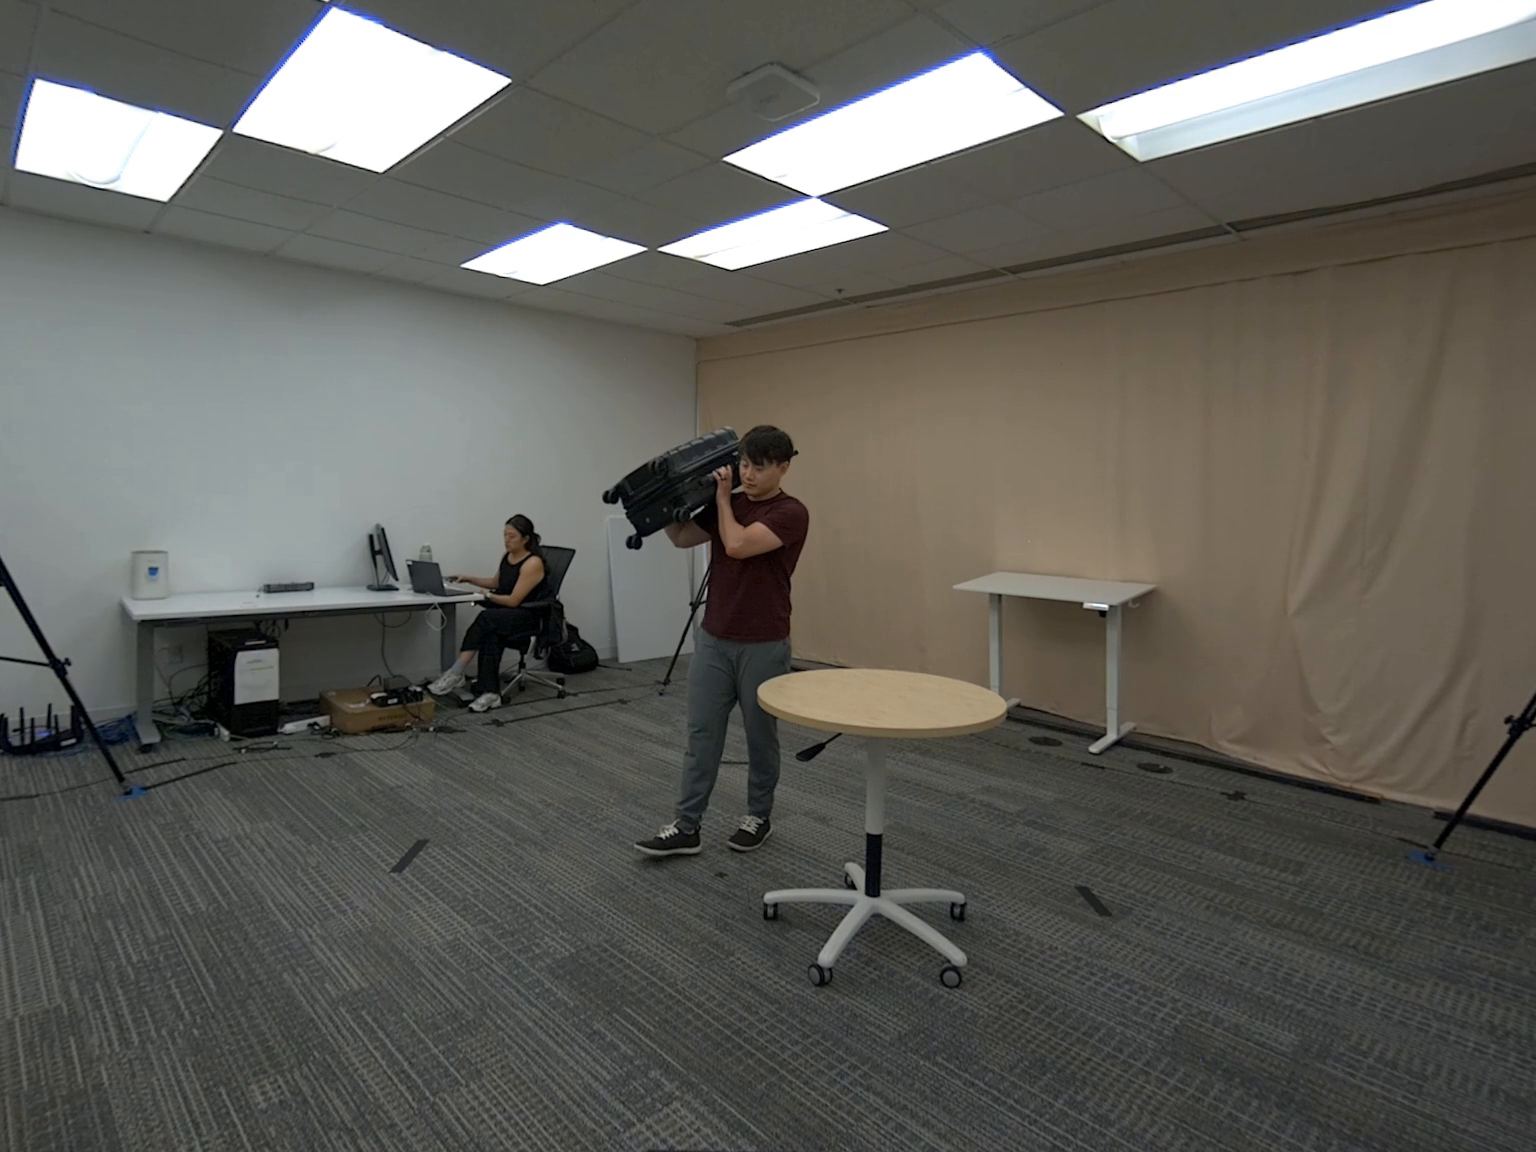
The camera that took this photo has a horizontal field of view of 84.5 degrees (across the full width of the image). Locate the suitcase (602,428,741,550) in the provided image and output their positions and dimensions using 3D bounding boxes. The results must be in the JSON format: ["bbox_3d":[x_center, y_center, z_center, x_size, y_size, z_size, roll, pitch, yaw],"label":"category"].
[{"bbox_3d":[-0.239,-0.456,3.502,0.388,0.256,0.972,-26,7,40],"label":"suitcase"}]
